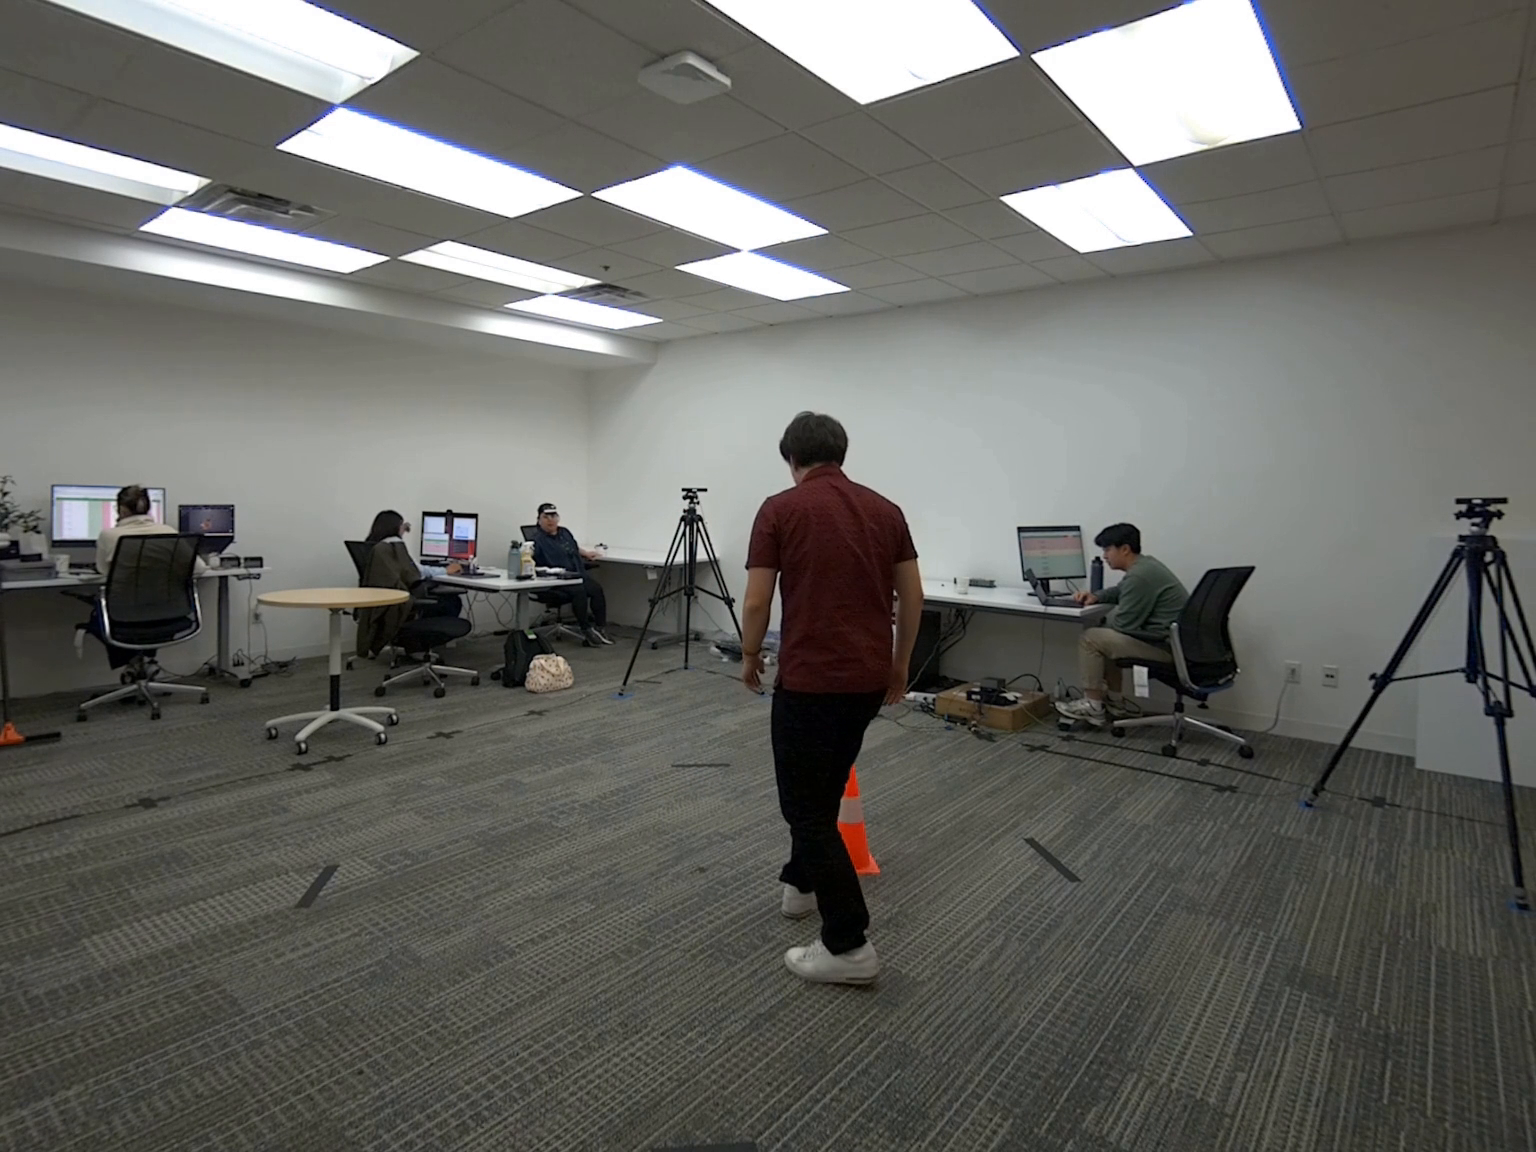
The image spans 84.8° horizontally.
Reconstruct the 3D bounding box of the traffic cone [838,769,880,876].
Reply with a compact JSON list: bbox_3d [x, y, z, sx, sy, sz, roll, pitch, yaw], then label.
[{"bbox_3d":[0.311,0.888,3.193,0.204,0.382,0.205,2,4,-4],"label":"traffic cone"}]
